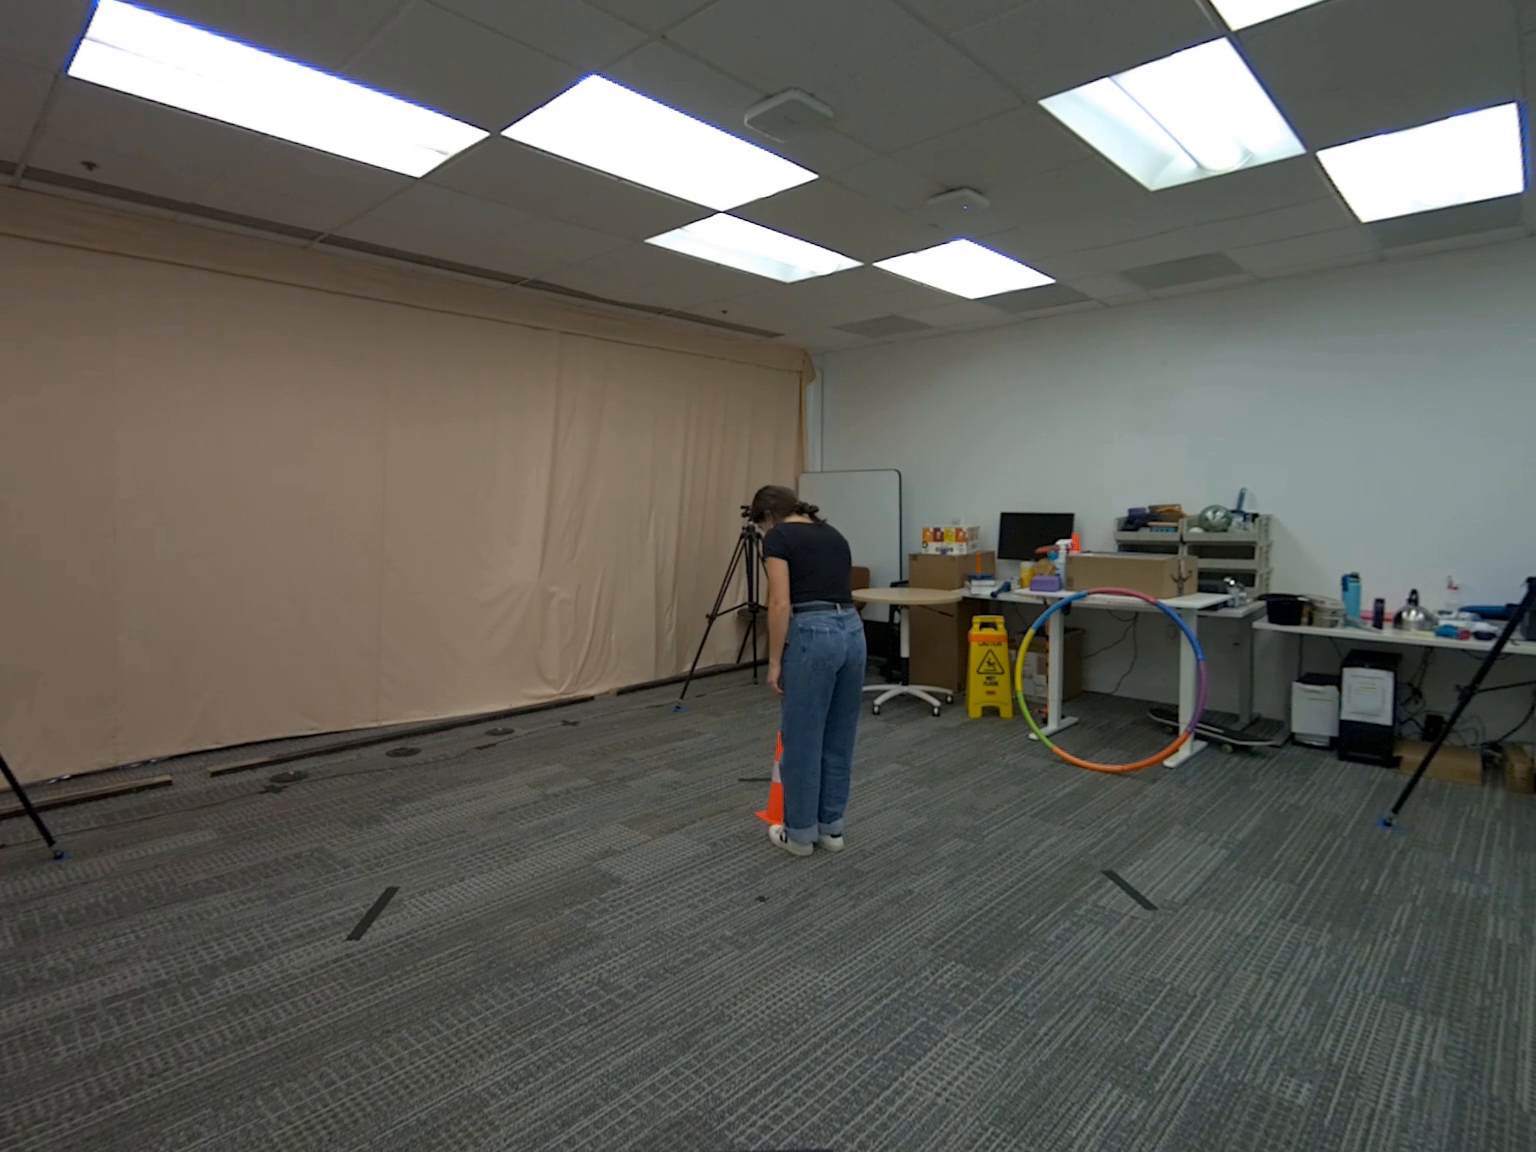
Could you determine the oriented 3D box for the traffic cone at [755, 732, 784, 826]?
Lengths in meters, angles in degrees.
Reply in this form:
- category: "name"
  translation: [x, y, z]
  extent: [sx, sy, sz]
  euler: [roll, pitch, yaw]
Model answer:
- category: "traffic cone"
  translation: [0.078, 0.894, 3.773]
  extent: [0.200, 0.383, 0.209]
  euler: [-1, 4, -28]
